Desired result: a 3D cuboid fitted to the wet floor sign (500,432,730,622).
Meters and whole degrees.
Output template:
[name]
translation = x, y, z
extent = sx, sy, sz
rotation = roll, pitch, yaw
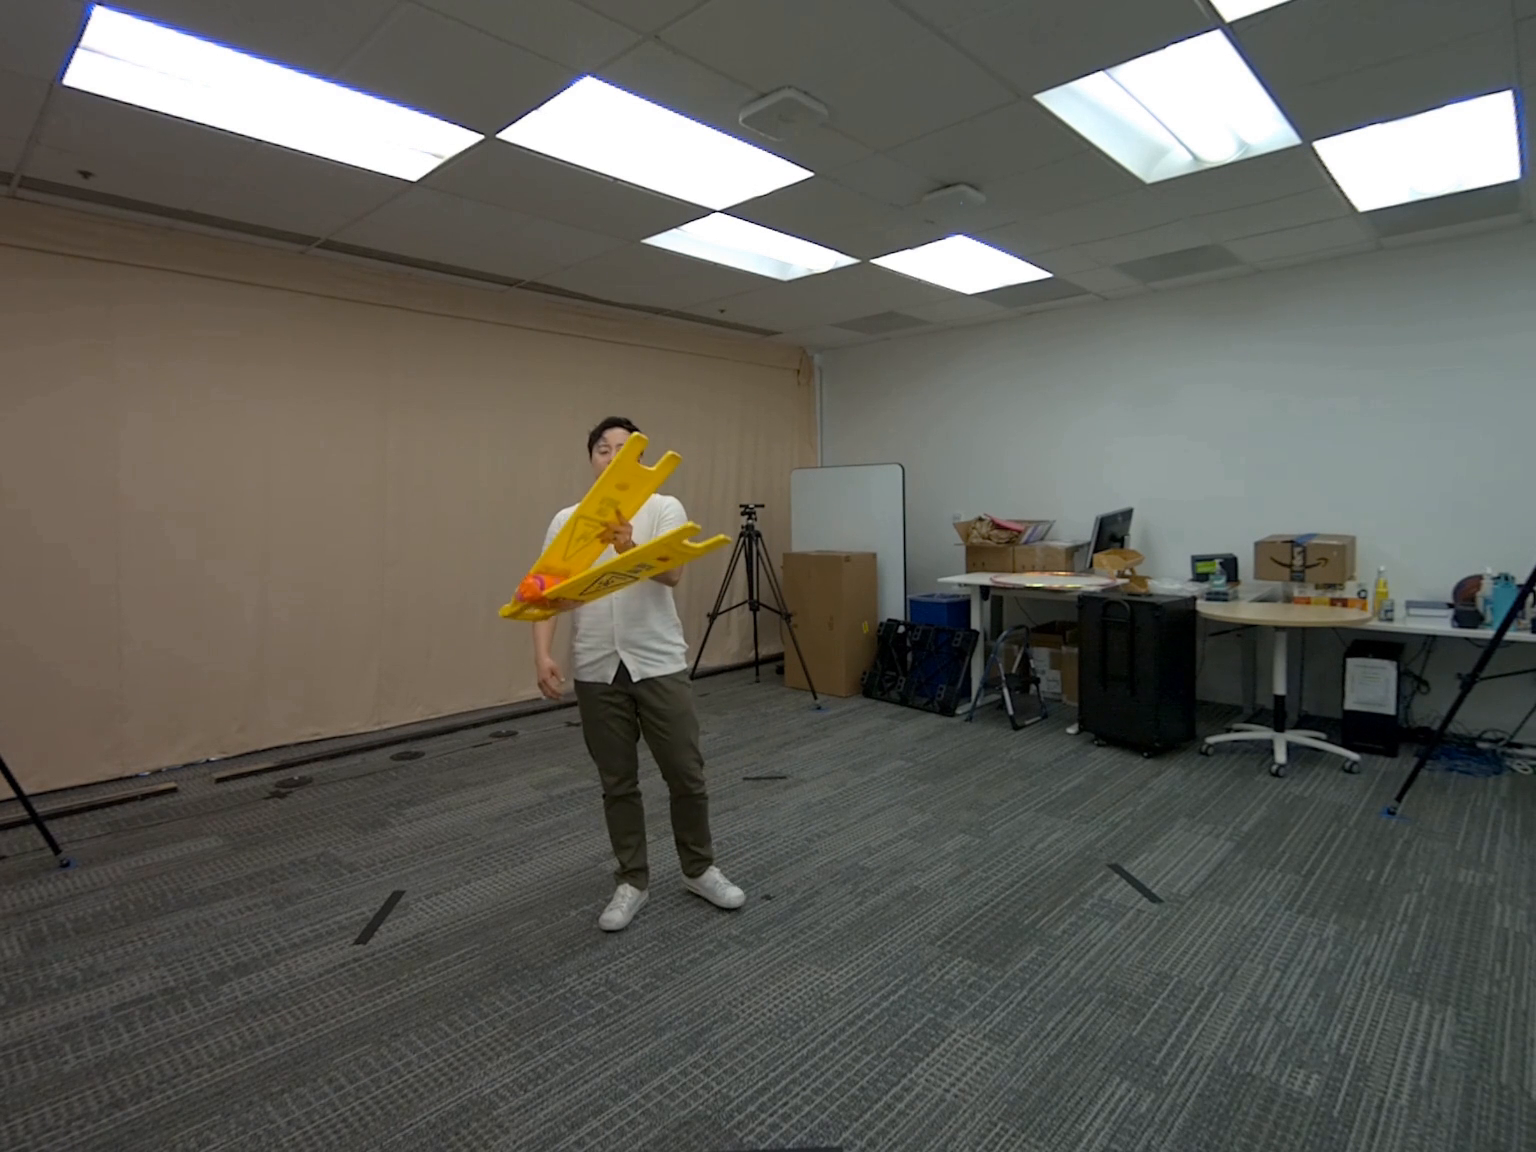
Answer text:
[wet floor sign]
translation = -0.477, -0.063, 2.393
extent = 0.651, 0.295, 0.274
rotation = -35, -19, 14
